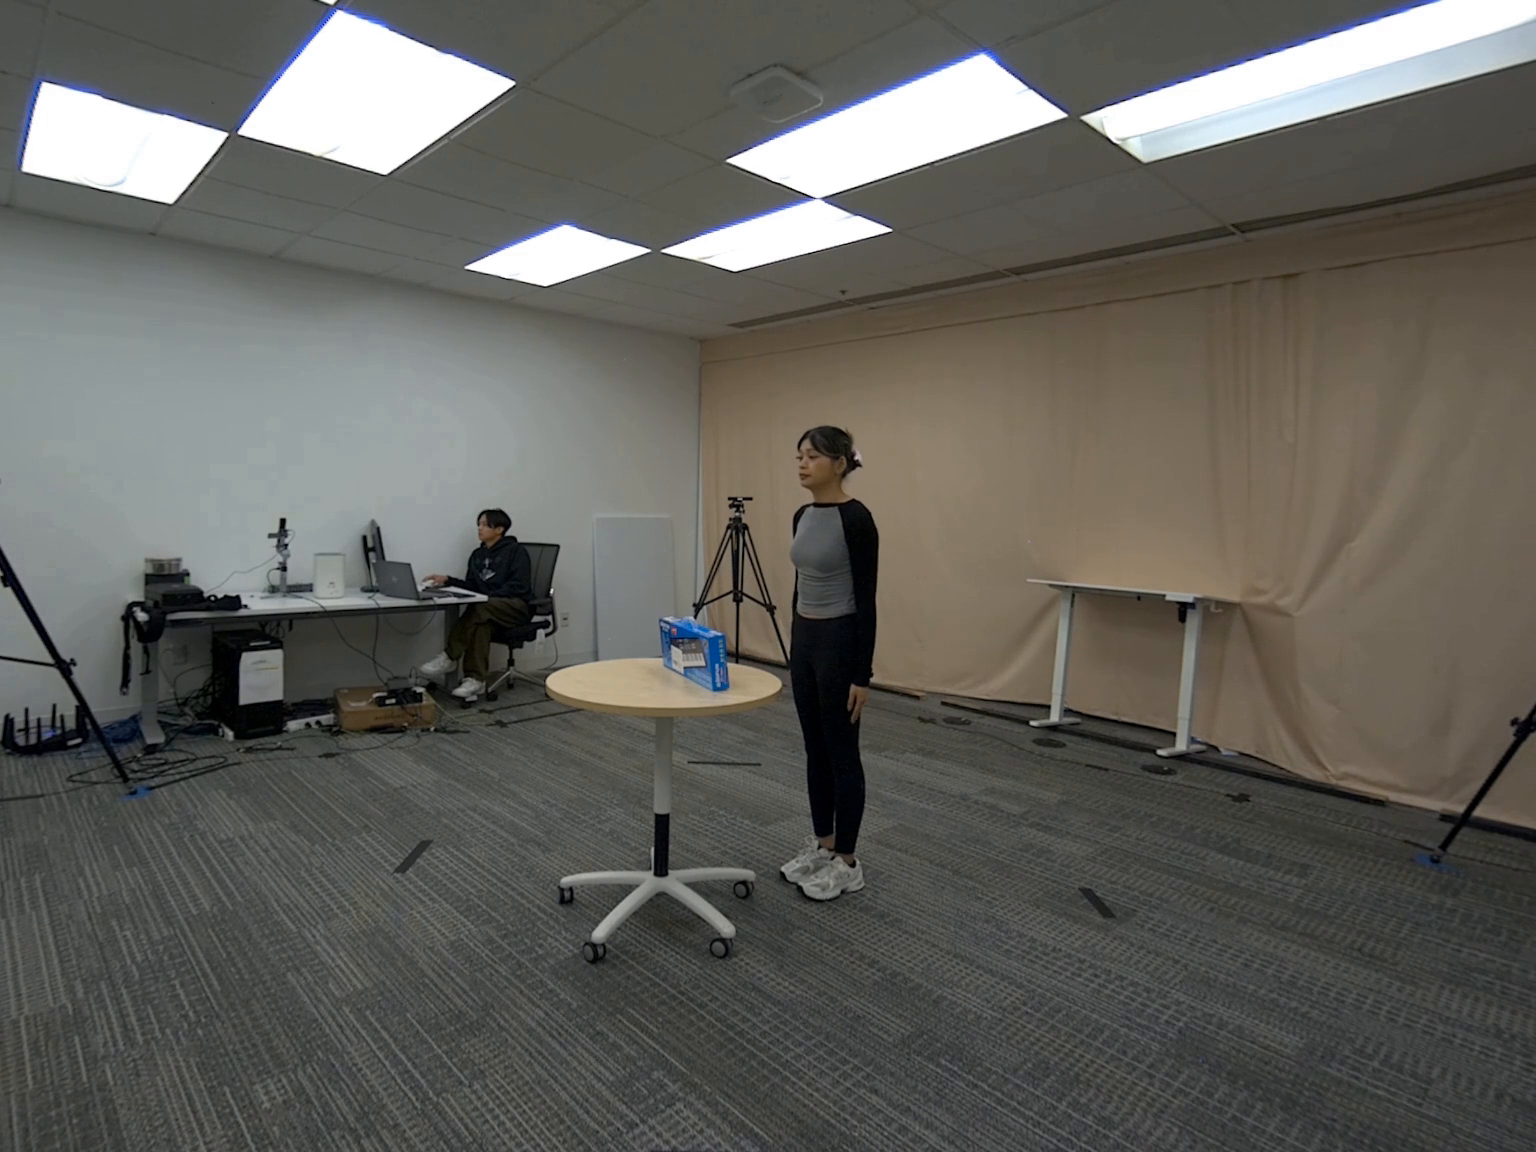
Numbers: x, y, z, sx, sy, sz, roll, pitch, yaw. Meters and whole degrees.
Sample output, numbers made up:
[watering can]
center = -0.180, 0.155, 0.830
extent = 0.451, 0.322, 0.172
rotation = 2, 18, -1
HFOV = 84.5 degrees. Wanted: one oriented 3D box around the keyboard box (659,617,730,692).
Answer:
[keyboard box]
center = -0.253, 0.253, 2.801
extent = 0.058, 0.175, 0.446
rotation = -7, 8, -23
